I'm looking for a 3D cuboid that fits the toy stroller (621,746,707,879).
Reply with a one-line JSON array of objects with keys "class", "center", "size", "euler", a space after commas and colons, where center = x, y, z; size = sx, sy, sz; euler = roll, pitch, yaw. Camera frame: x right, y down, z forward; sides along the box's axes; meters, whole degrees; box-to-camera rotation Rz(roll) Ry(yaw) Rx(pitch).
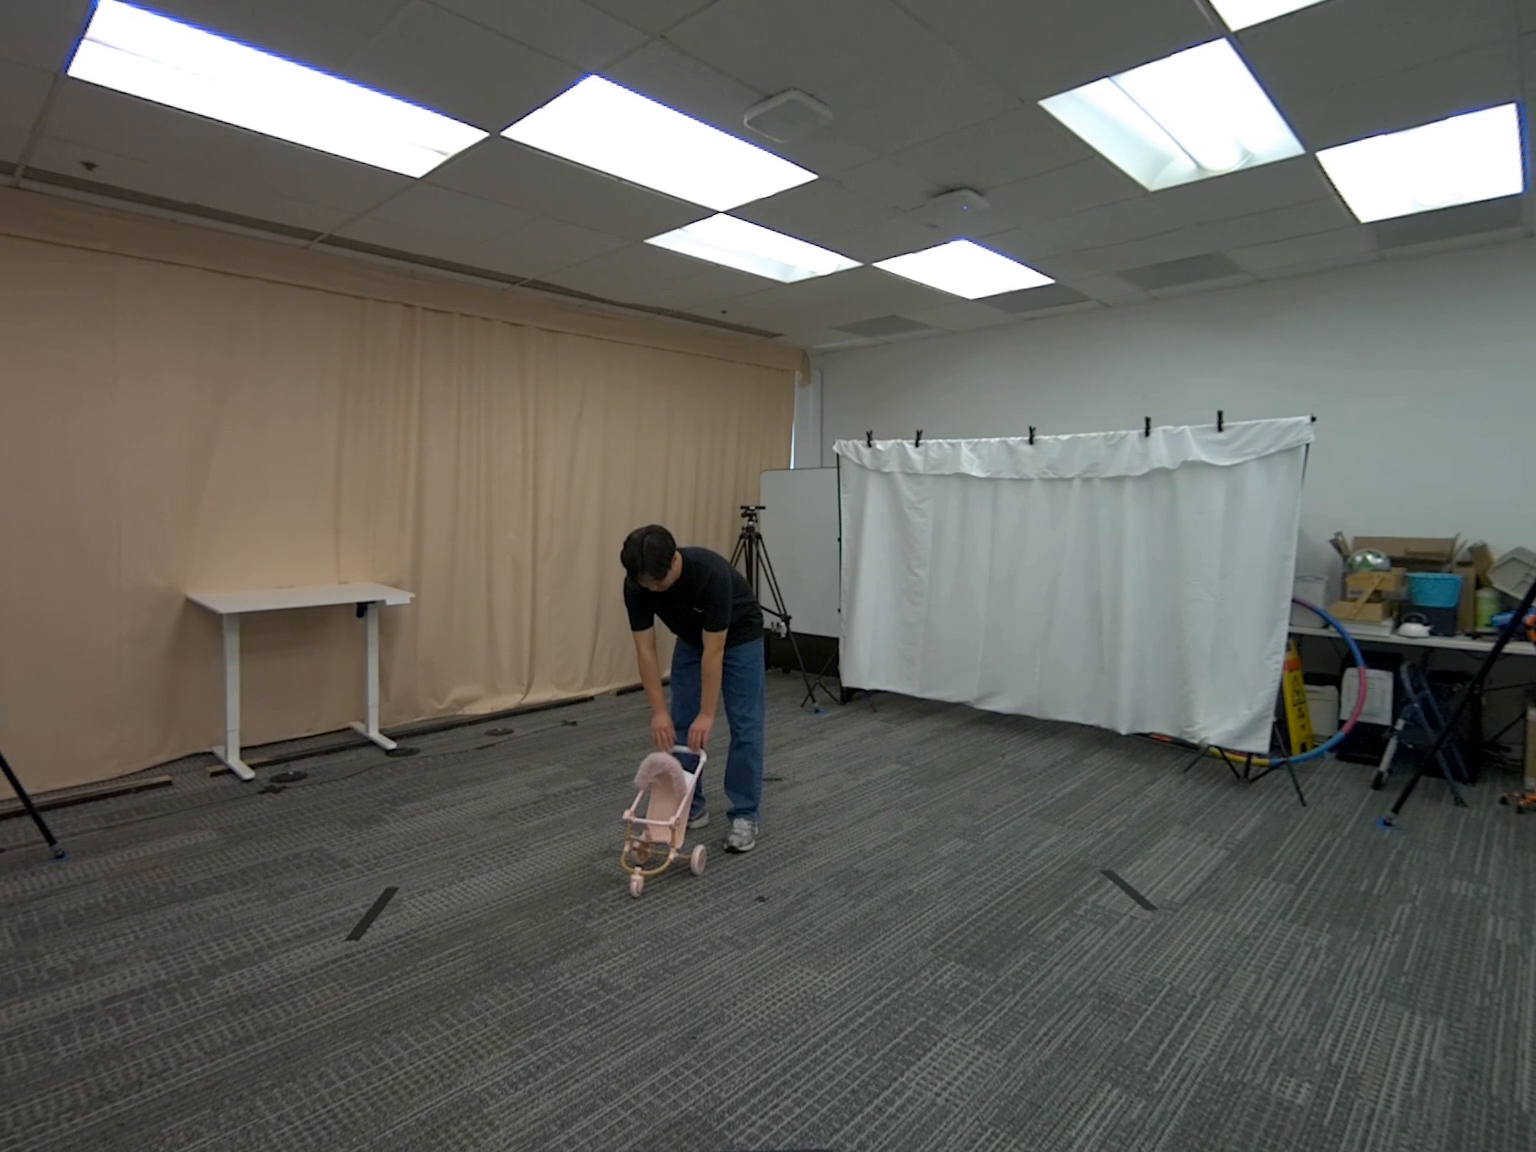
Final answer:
[{"class": "toy stroller", "center": [-0.406, 0.907, 3.168], "size": [0.289, 0.538, 0.330], "euler": [0, -13, 27]}]
